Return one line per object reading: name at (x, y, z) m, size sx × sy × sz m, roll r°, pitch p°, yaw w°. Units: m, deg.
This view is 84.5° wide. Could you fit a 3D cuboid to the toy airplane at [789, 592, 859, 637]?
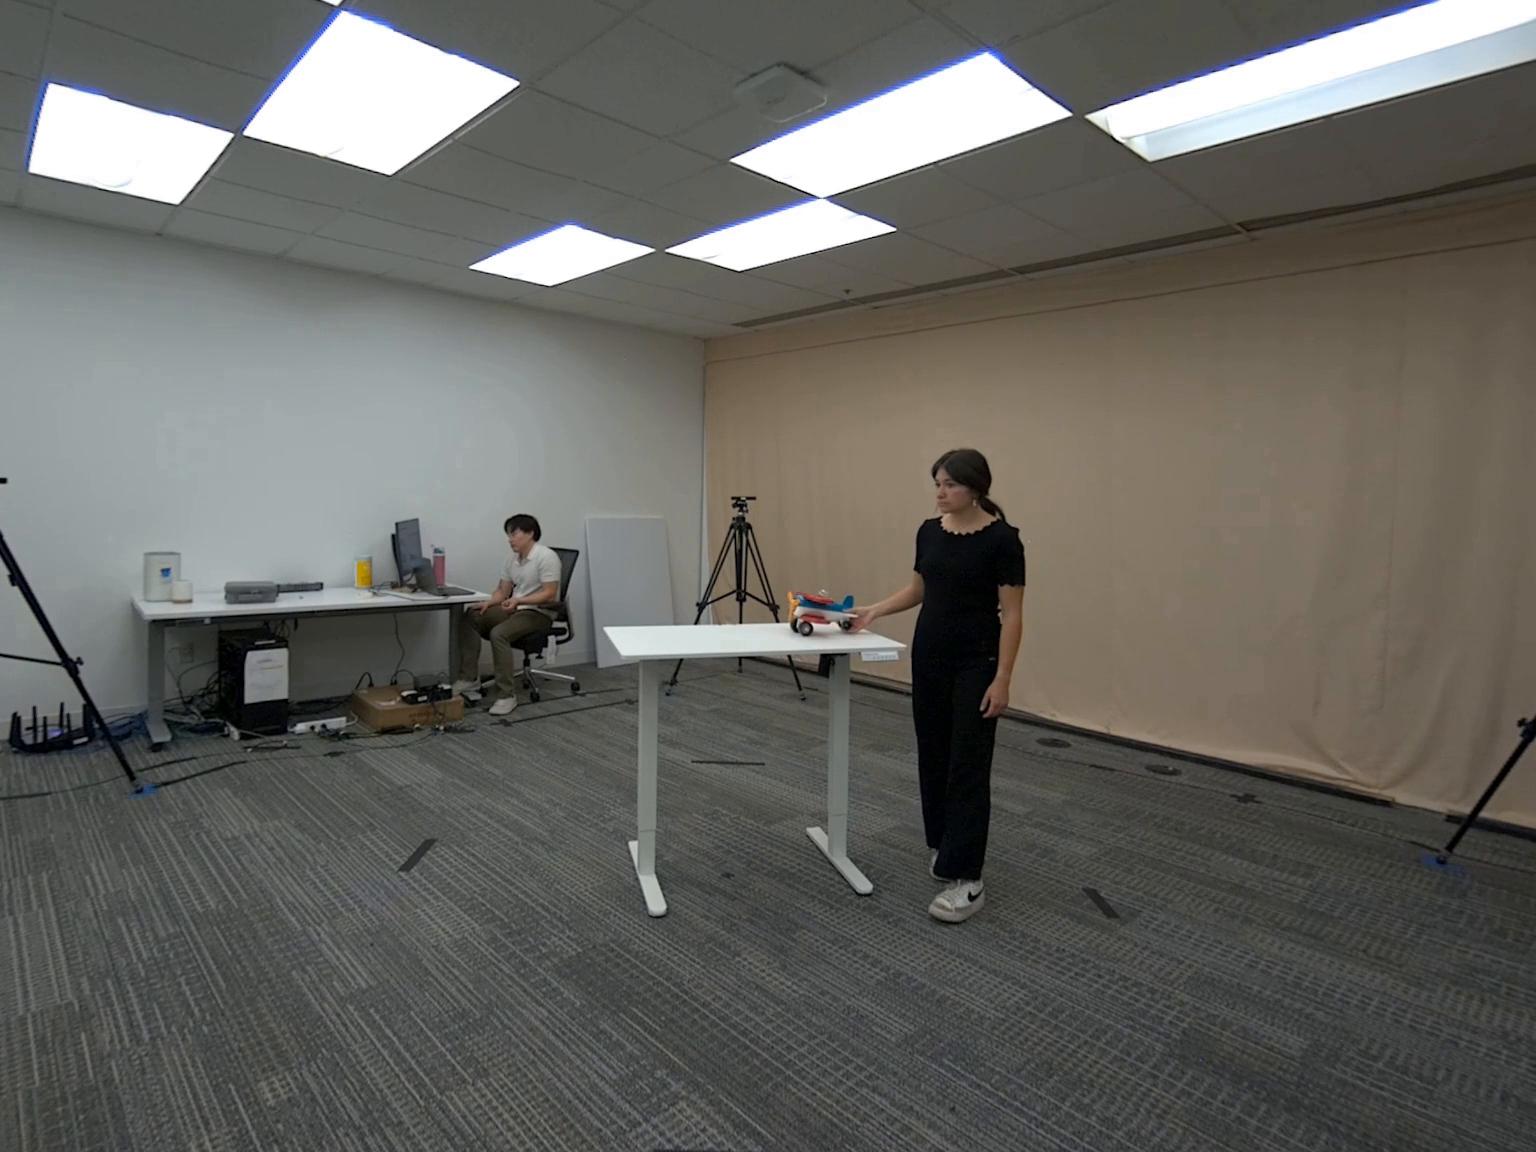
toy airplane at (0.191, 0.135, 3.215) m, size 0.257 × 0.156 × 0.254 m, roll 3°, pitch 9°, yaw 44°
